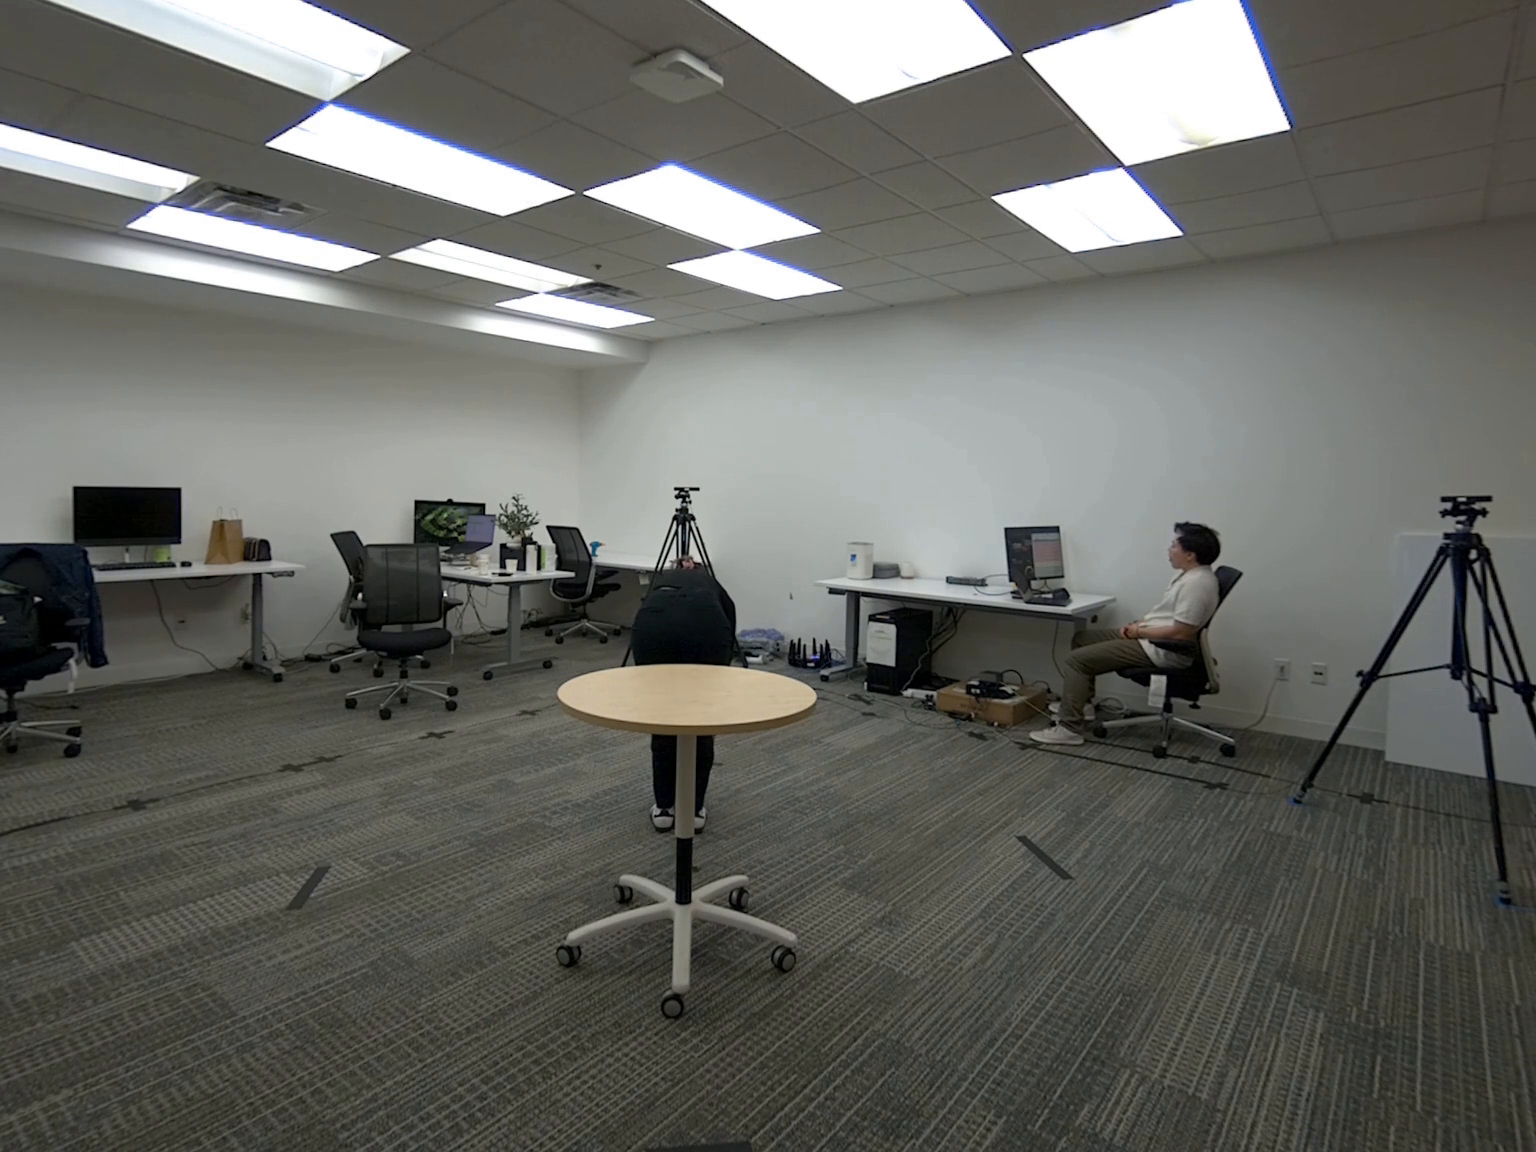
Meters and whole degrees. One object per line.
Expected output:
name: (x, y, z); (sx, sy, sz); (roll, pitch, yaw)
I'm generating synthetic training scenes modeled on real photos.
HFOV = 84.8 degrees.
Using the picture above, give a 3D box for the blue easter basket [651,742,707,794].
blue easter basket: (-0.398, 0.864, 3.808); (0.243, 0.156, 0.244); (1, 3, -2)
